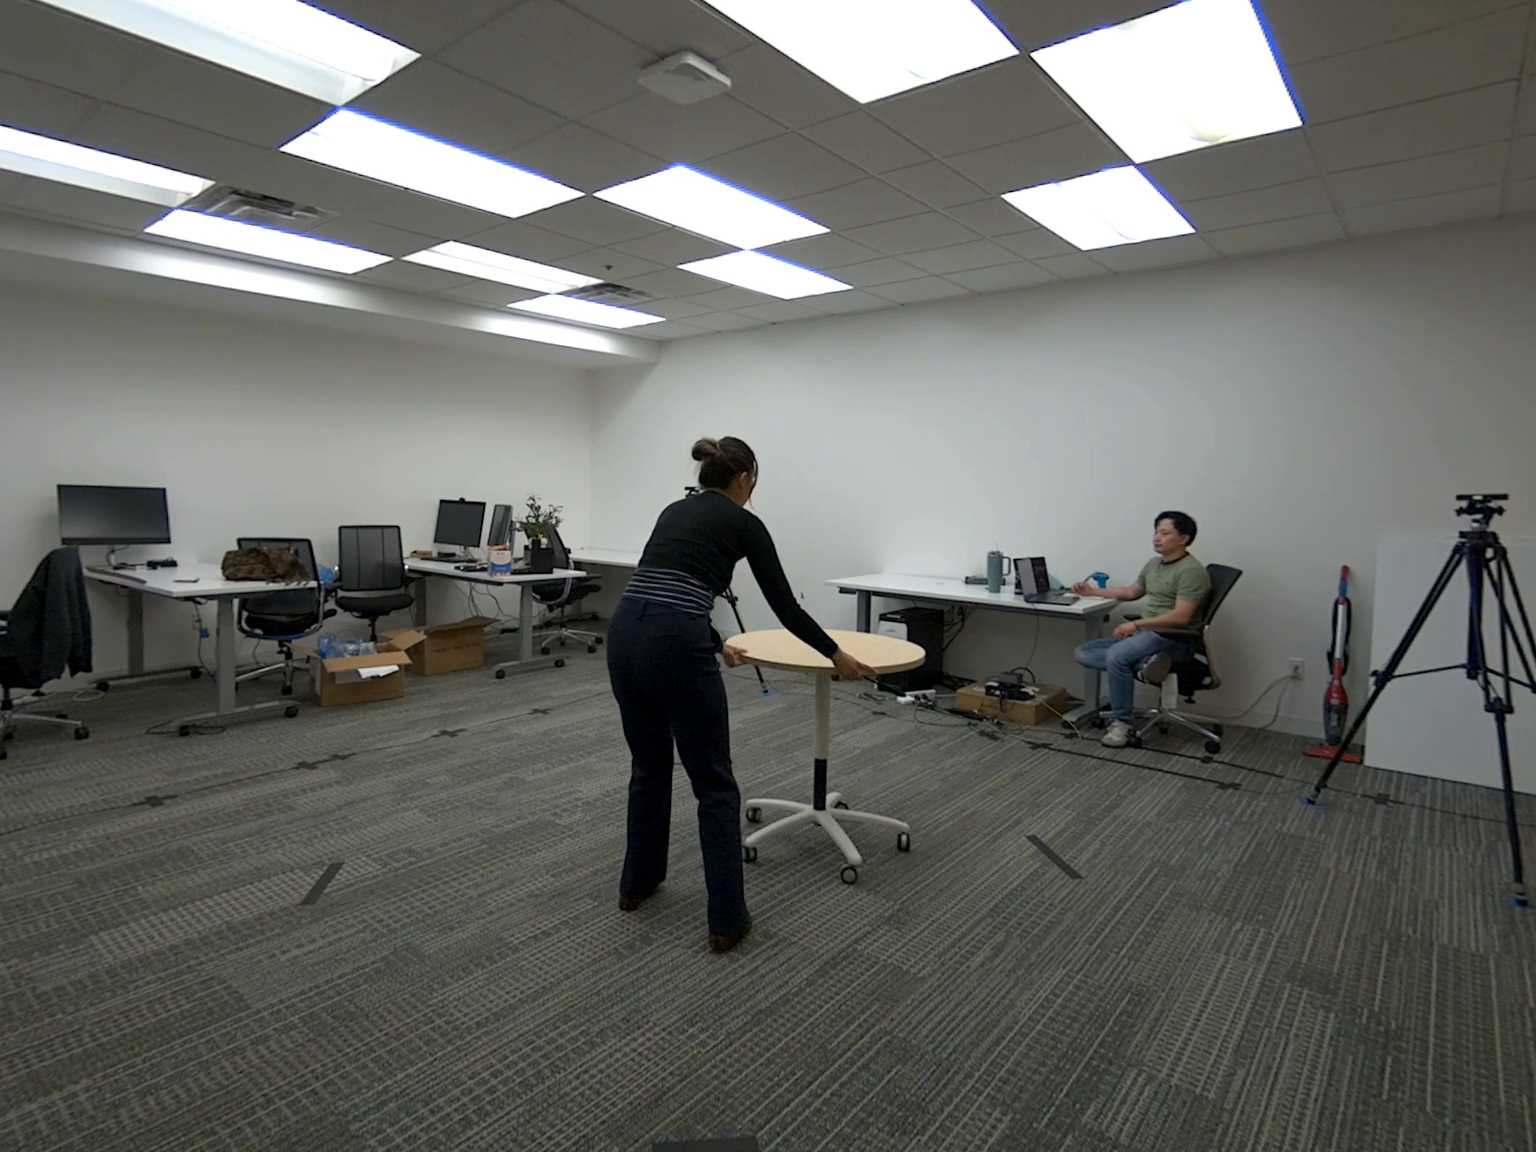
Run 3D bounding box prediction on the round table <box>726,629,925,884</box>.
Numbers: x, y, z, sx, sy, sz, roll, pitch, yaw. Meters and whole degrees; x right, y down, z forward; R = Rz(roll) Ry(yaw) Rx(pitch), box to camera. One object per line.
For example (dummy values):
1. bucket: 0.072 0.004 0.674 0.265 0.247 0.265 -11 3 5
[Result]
1. round table: 0.201 0.660 3.317 0.763 0.791 0.768 1 4 -2
